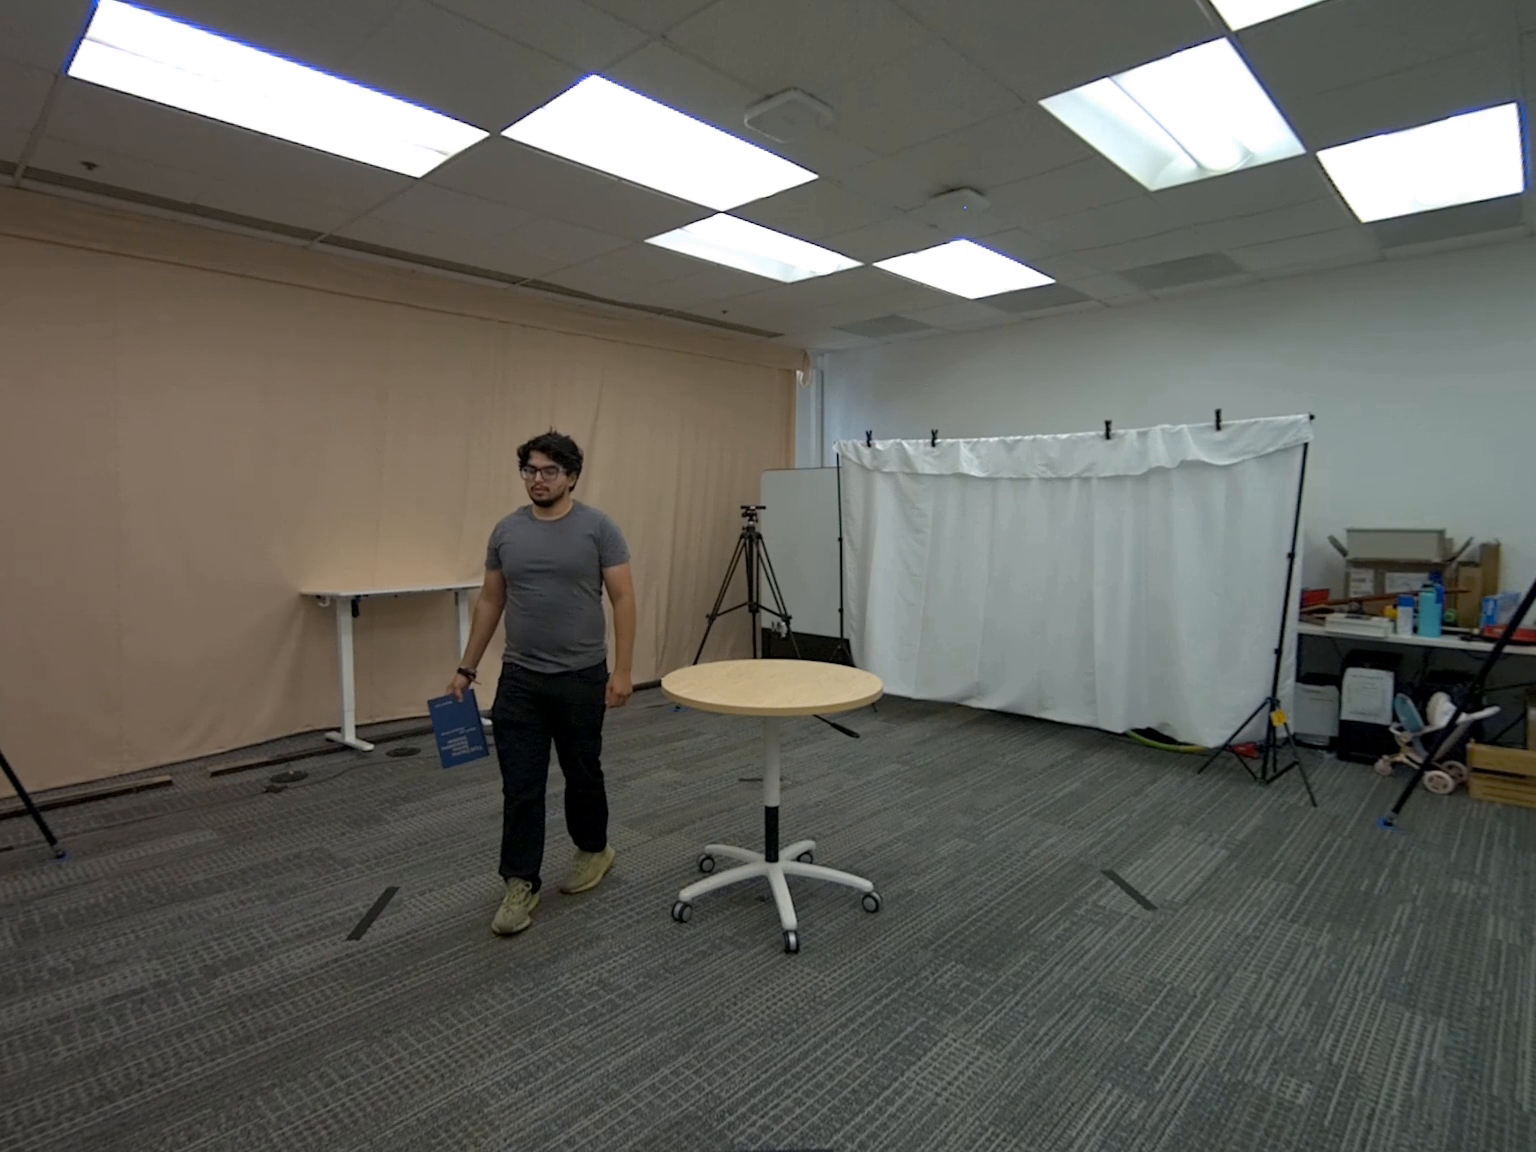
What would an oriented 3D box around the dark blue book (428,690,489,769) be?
[{"bbox_3d":[-1.095,0.543,2.943,0.162,0.246,0.045,-13,-6,-11],"label":"dark blue book"}]
